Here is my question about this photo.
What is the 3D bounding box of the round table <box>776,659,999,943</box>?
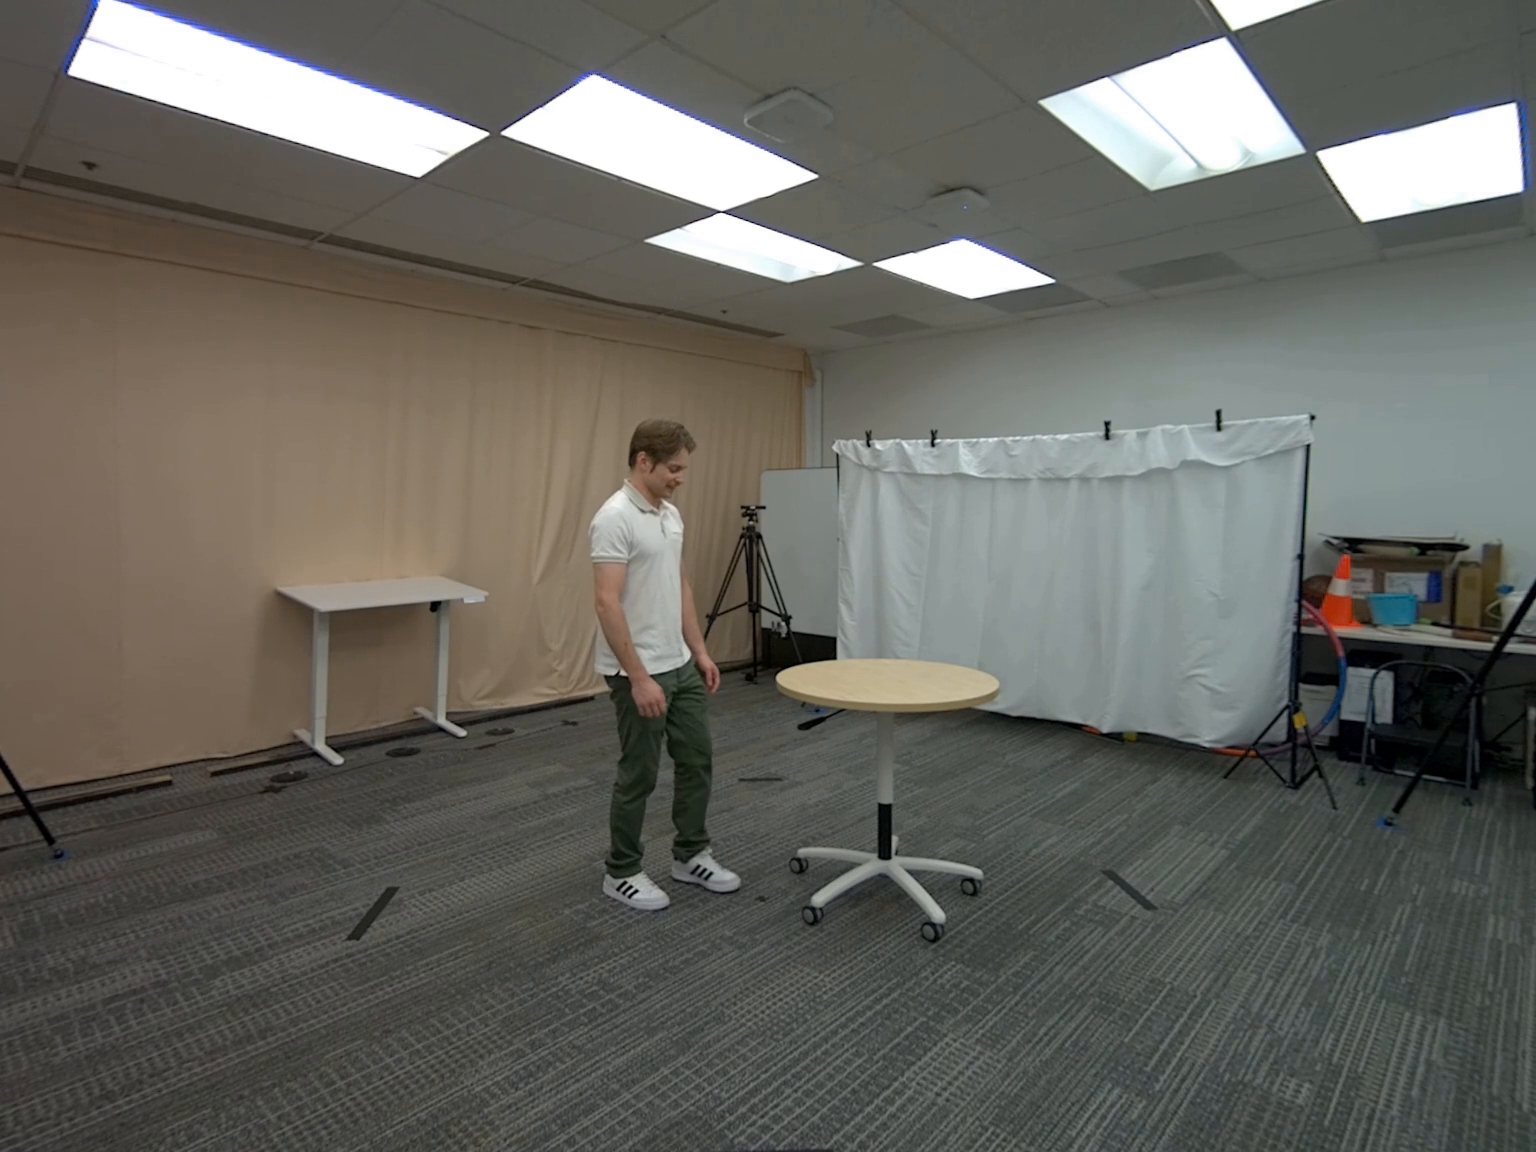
[{"bbox_3d":[0.413,0.756,2.975,0.763,0.792,0.766,-1,4,-2],"label":"round table"}]
